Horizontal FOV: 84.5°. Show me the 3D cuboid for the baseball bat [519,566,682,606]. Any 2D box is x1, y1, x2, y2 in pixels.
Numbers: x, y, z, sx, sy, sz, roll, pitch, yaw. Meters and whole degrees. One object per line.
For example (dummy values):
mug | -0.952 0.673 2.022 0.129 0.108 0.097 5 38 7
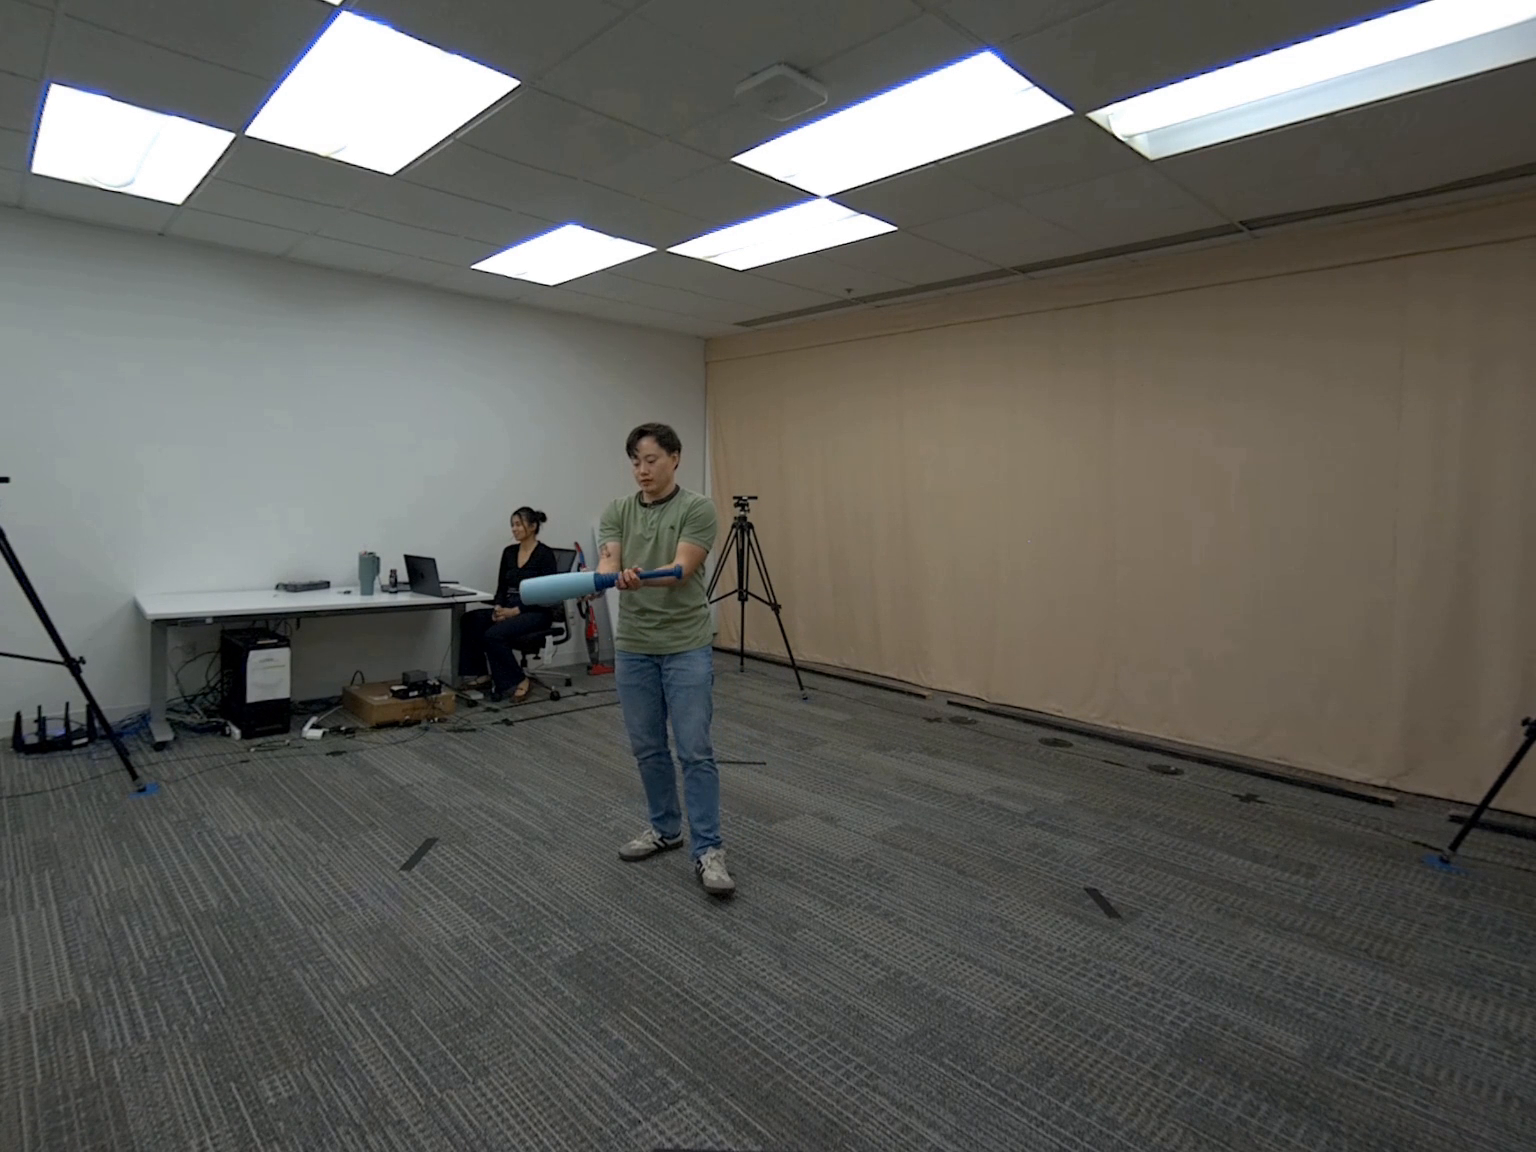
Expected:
baseball bat | -0.559 0.028 2.797 0.543 0.089 0.089 -6 4 0
